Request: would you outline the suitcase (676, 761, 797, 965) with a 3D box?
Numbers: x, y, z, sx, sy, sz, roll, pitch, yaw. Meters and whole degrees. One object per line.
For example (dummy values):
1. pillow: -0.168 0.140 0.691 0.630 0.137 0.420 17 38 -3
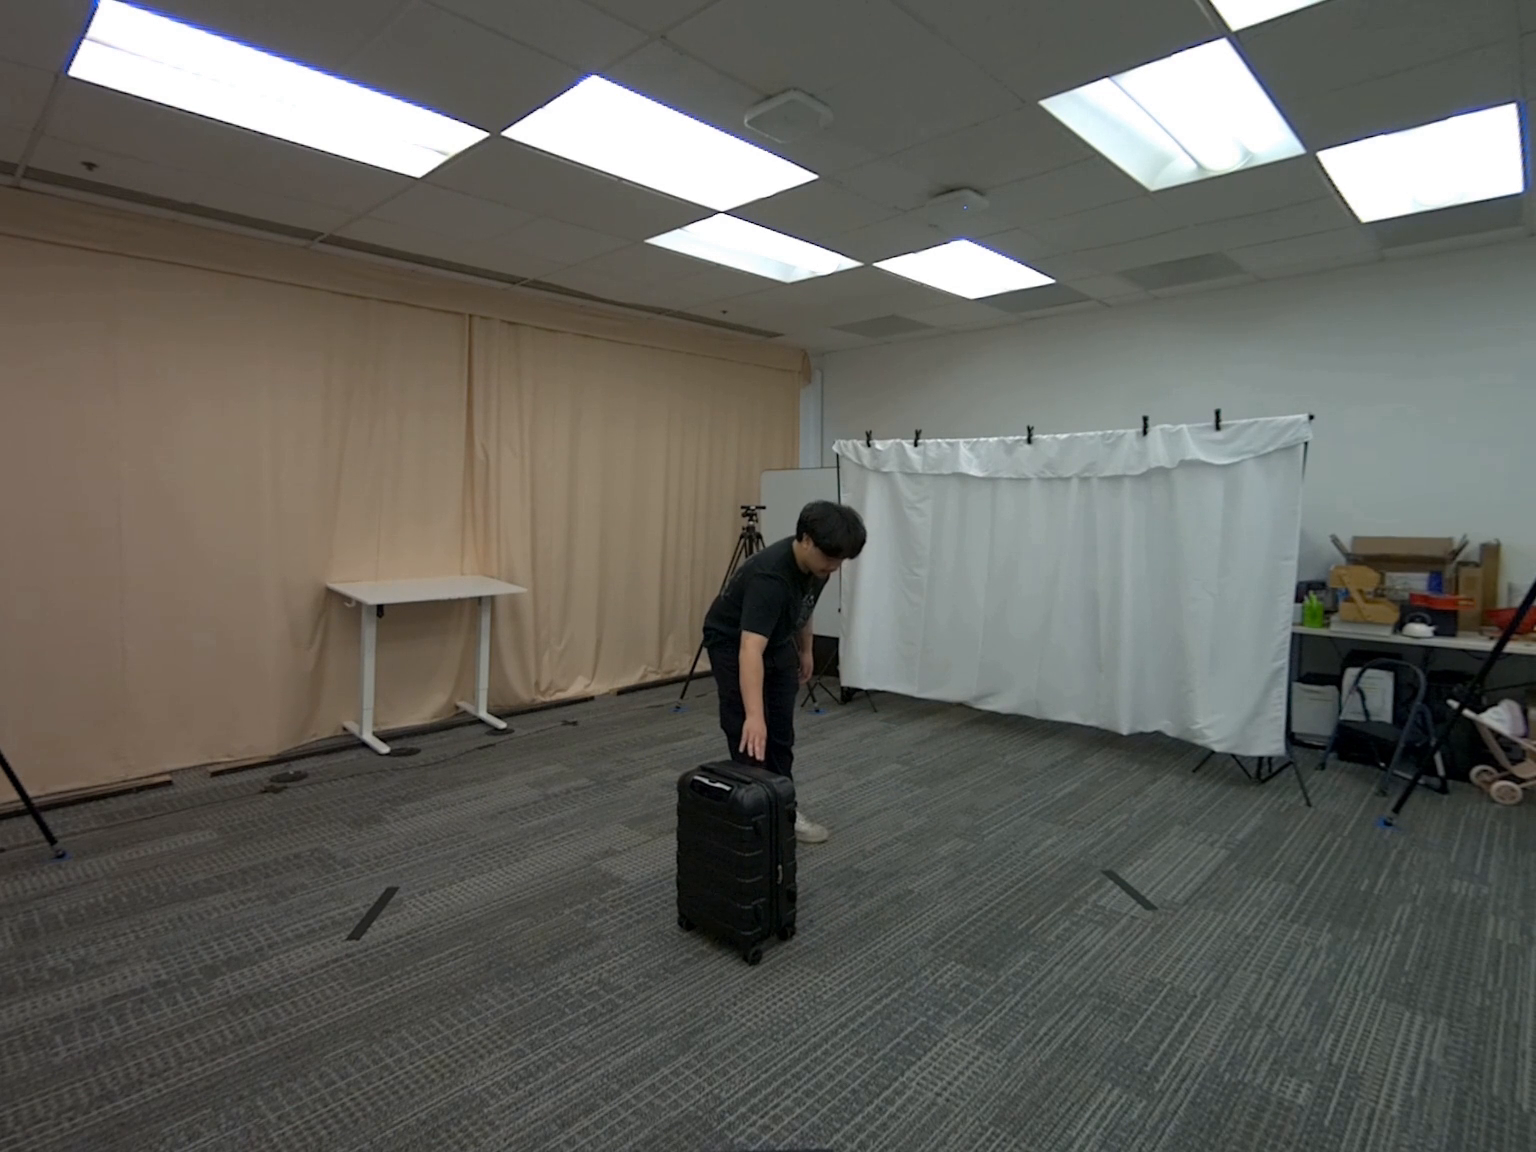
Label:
1. suitcase: -0.105 0.885 2.723 0.388 0.548 0.241 3 6 44
